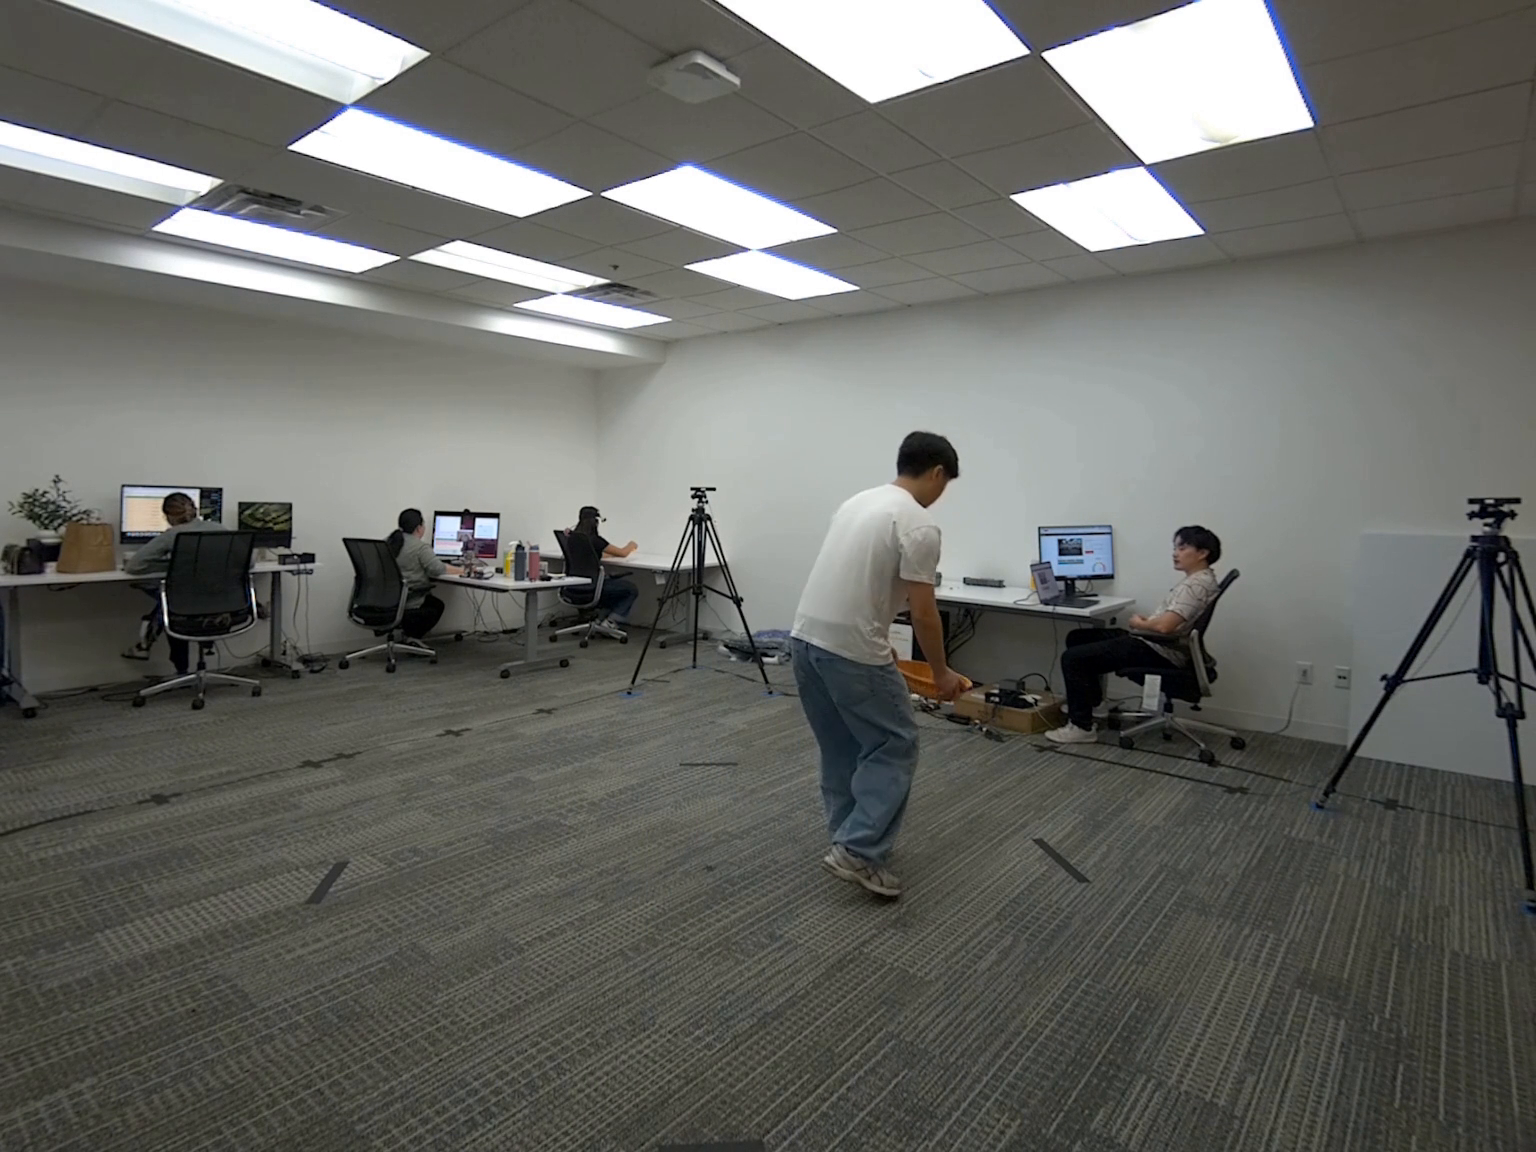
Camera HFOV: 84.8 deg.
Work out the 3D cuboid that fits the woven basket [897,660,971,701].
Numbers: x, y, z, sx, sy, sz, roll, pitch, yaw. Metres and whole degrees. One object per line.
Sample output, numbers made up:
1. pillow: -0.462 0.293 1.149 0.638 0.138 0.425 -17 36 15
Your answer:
1. woven basket: 0.583 0.407 3.169 0.244 0.073 0.364 0 12 -43
